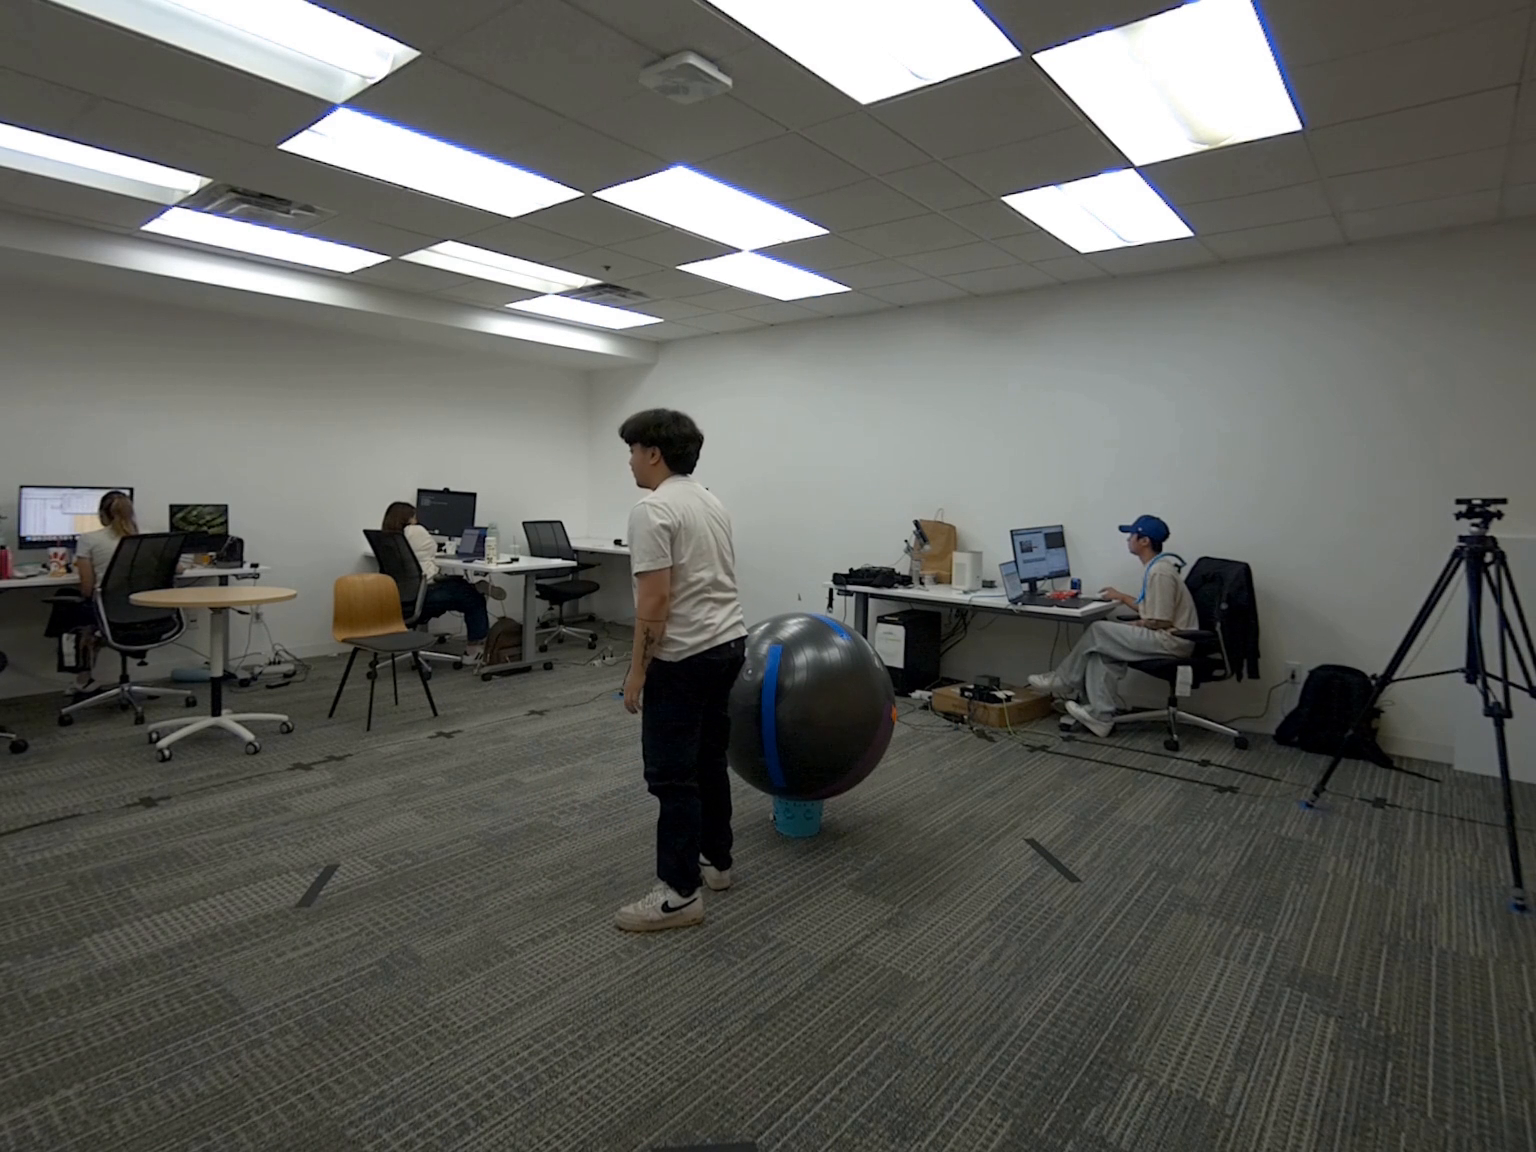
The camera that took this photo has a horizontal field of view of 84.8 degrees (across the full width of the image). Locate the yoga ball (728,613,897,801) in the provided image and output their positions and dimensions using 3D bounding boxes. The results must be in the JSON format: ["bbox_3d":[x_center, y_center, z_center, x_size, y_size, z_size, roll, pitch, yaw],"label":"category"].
[{"bbox_3d":[0.130,0.531,3.484,0.757,0.755,0.762,1,4,-2],"label":"yoga ball"}]
